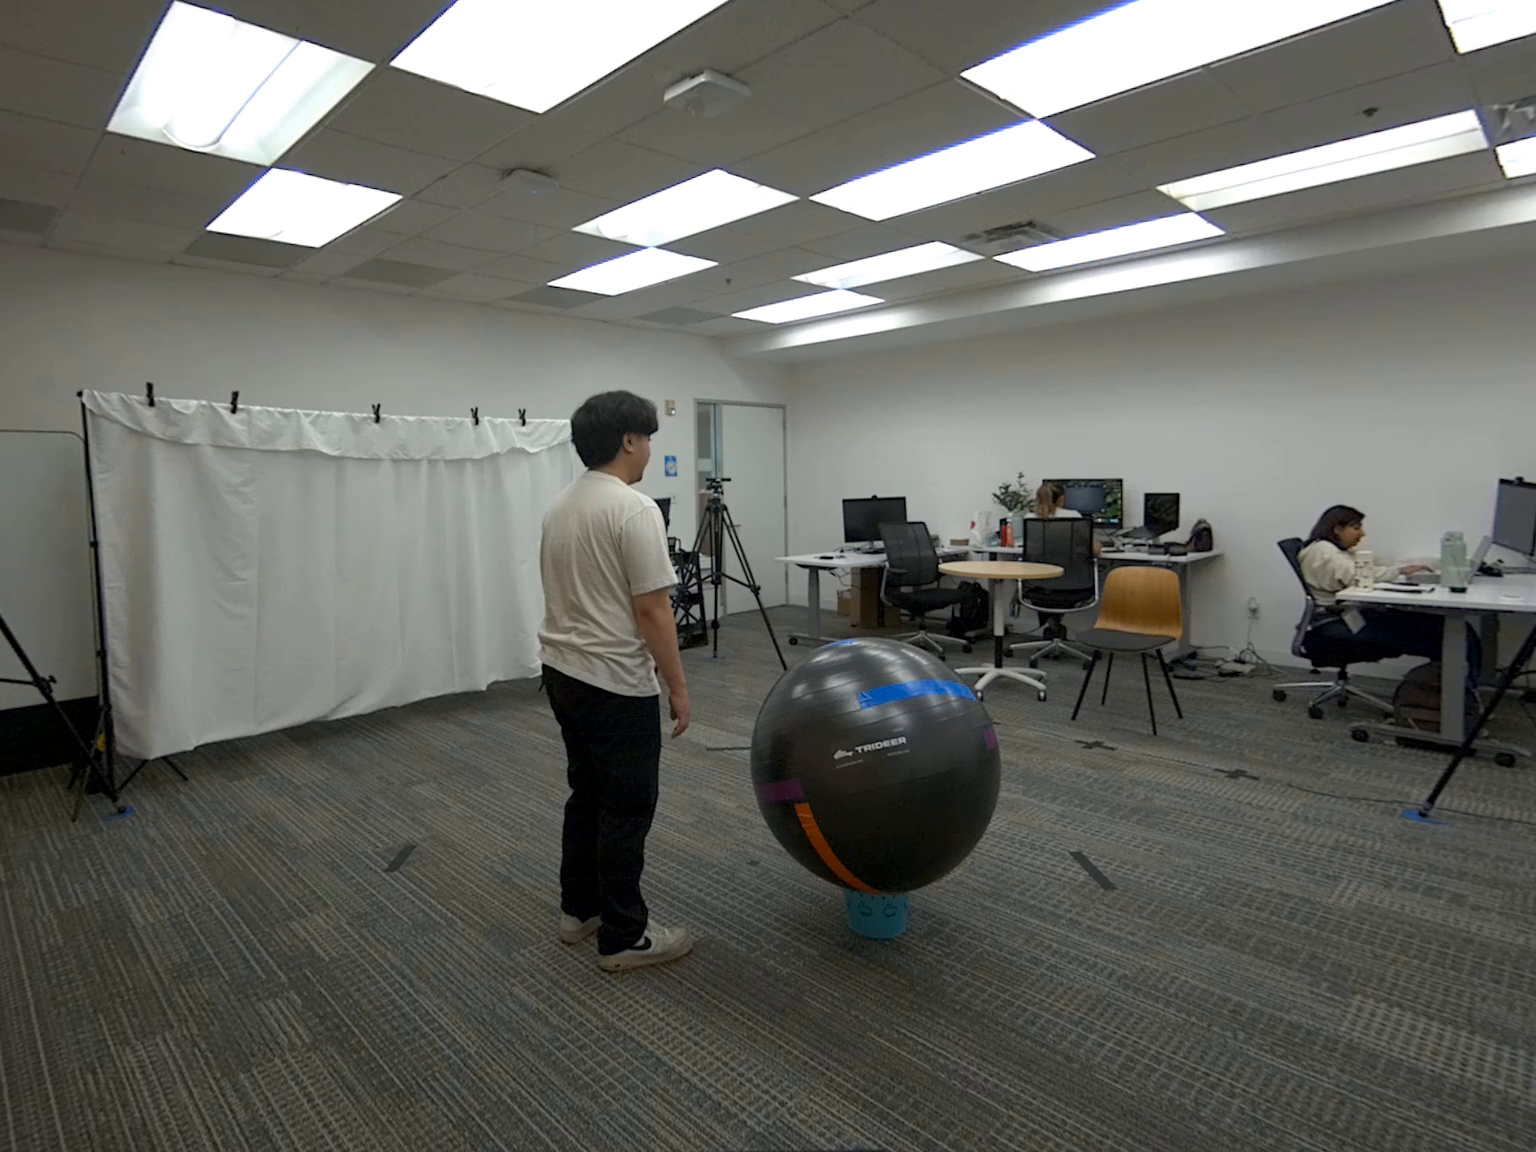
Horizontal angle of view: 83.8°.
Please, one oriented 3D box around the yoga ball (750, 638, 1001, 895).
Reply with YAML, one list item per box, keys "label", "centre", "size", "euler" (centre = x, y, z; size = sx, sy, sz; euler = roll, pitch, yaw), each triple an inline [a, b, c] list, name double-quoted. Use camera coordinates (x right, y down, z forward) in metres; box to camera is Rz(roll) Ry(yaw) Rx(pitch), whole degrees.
- label: "yoga ball"
  centre: [0.326, 0.578, 2.635]
  size: [0.757, 0.755, 0.762]
  euler: [-1, 5, -2]
